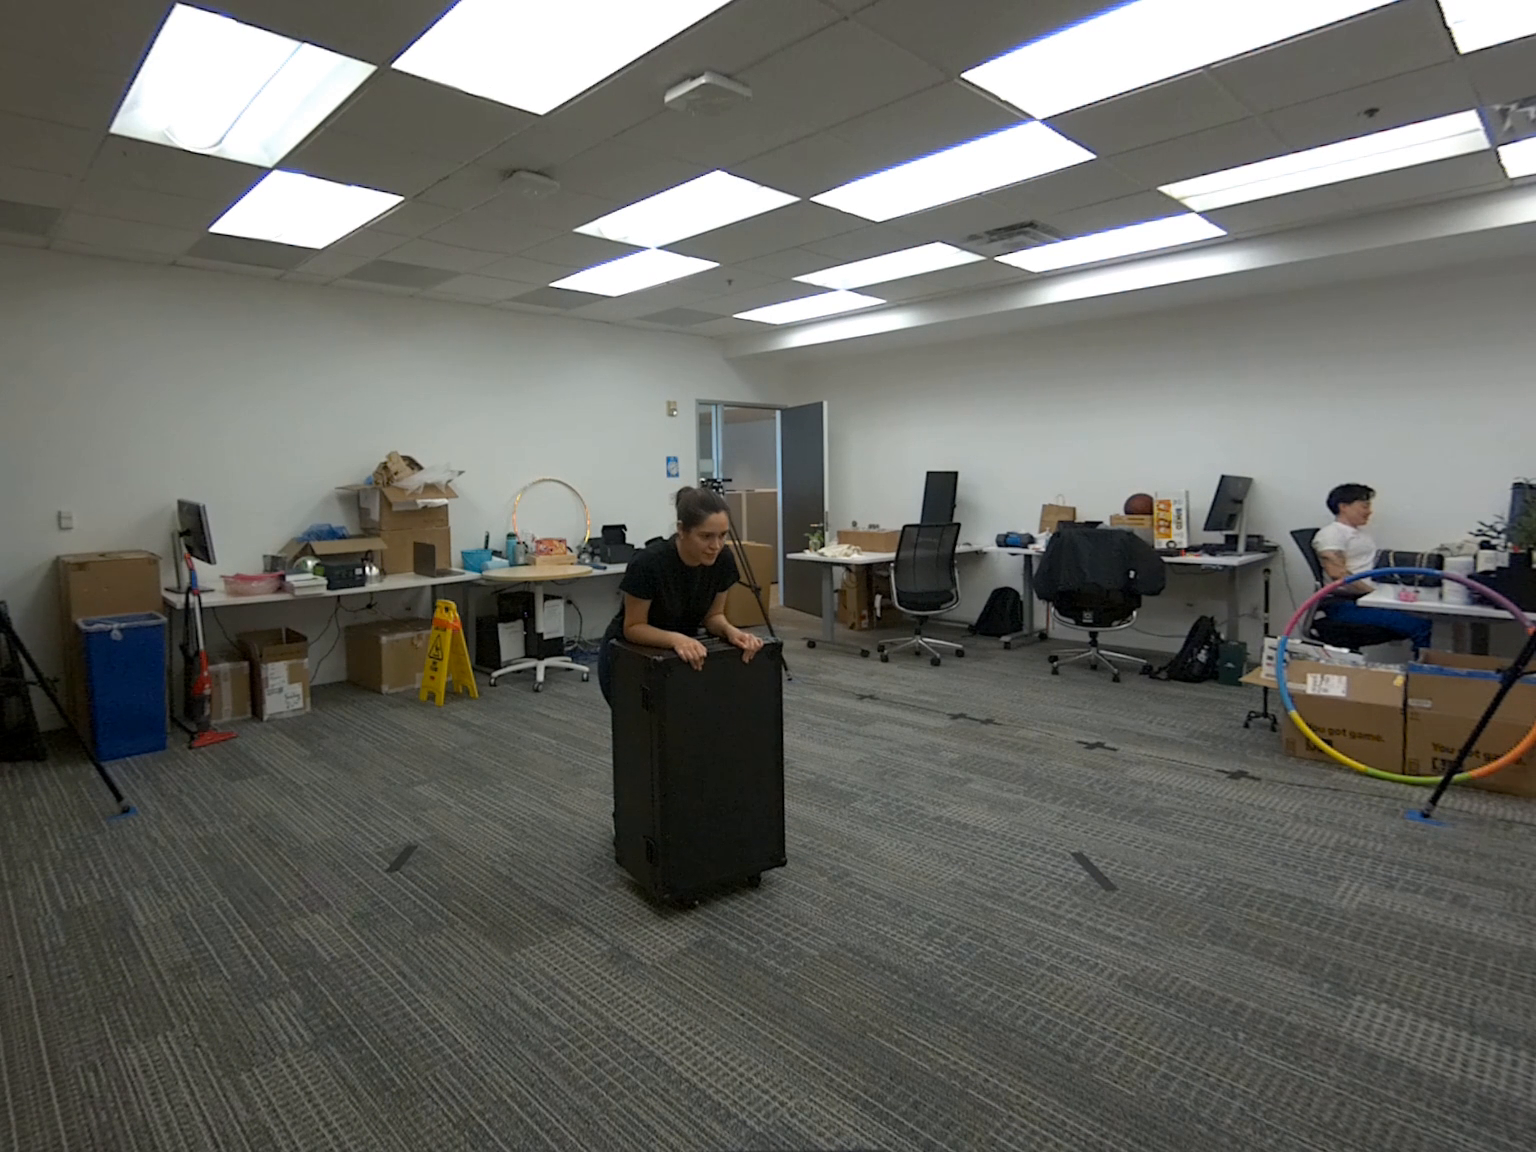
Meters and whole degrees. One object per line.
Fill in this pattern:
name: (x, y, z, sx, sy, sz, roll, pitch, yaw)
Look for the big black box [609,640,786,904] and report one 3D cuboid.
big black box: (-0.248, 0.583, 2.937, 0.509, 0.858, 0.407, -4, 5, -33)
